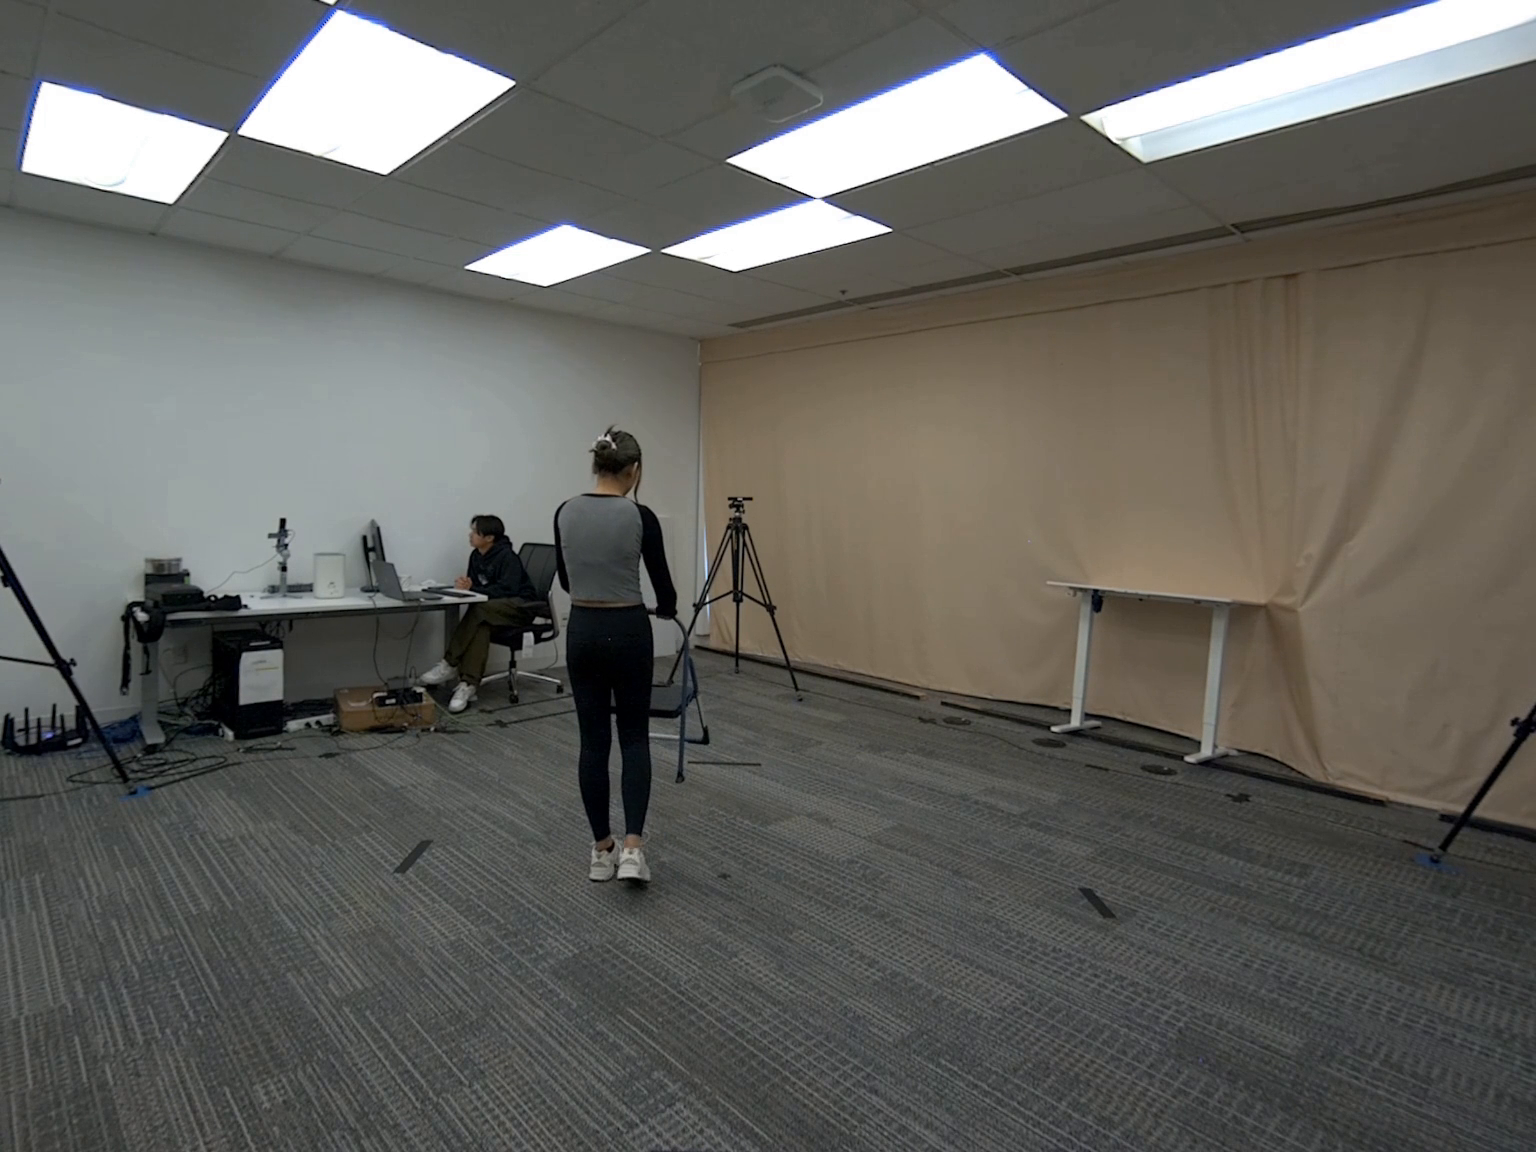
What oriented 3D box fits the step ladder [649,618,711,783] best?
[{"bbox_3d":[-0.503,0.449,3.370,0.437,0.600,0.348,2,14,18],"label":"step ladder"}]
